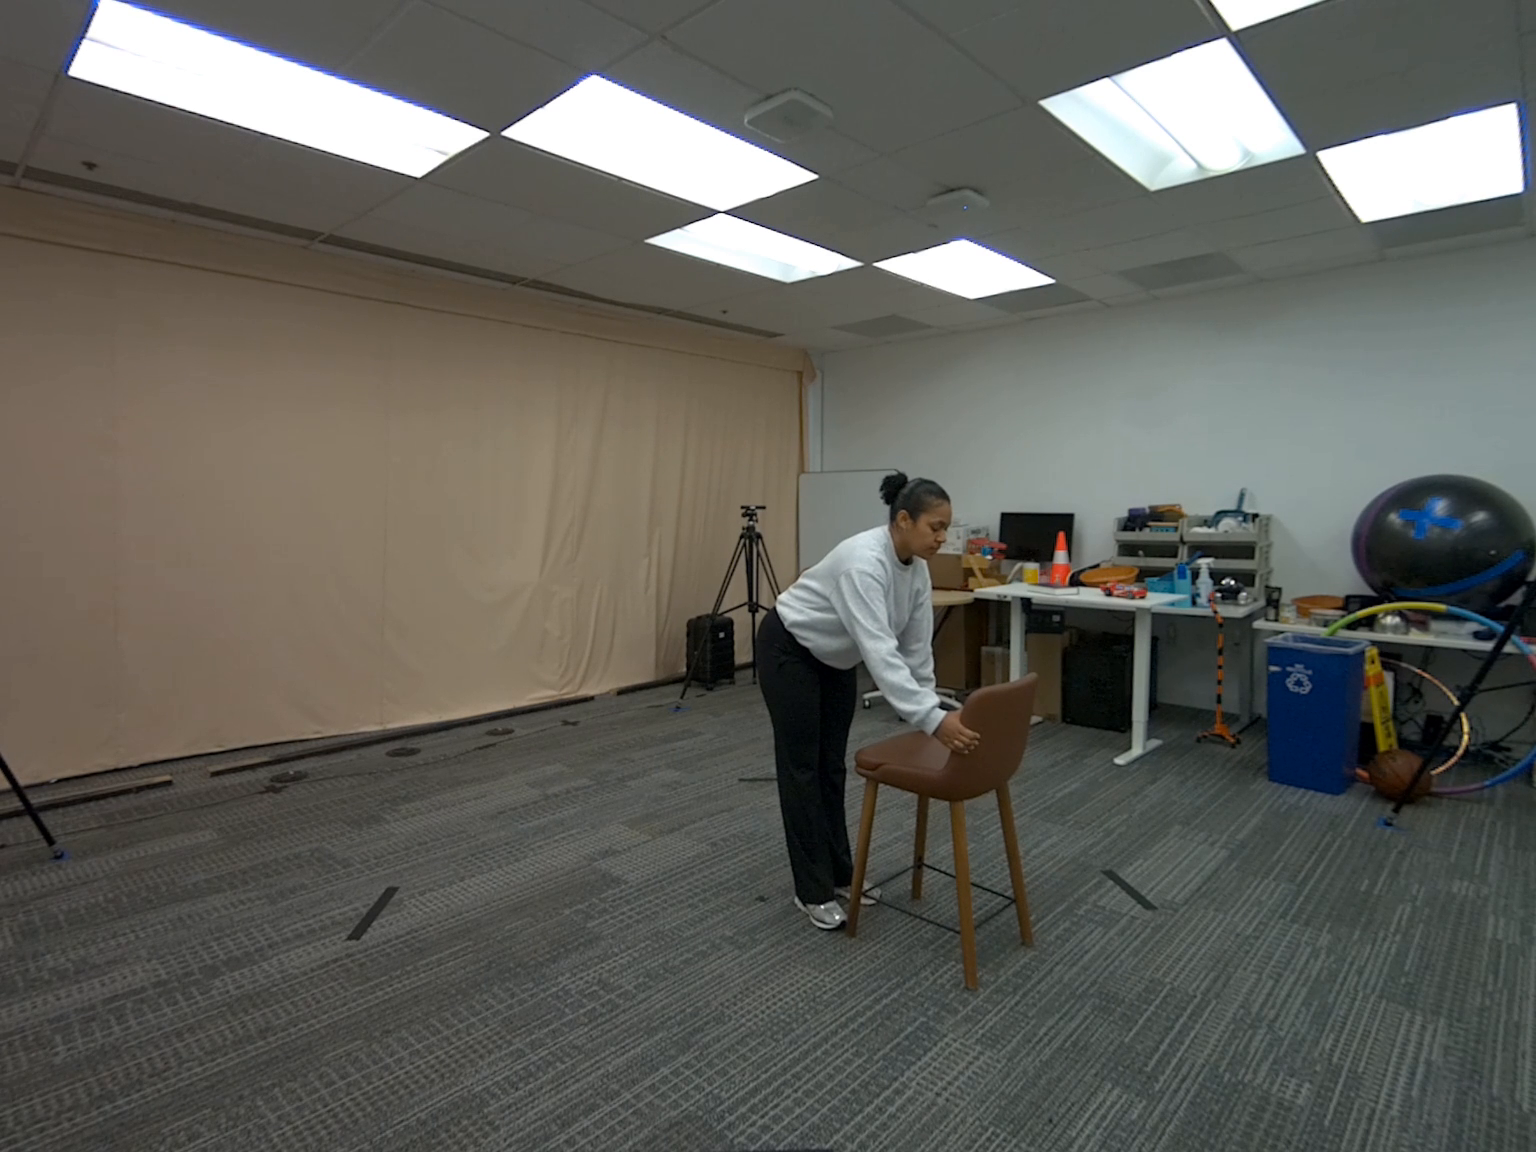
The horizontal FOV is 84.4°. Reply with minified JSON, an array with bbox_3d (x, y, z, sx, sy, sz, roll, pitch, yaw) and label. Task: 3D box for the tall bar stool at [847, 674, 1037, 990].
[{"bbox_3d":[0.562,0.733,2.672,0.442,0.887,0.484,-3,7,-45],"label":"tall bar stool"}]
